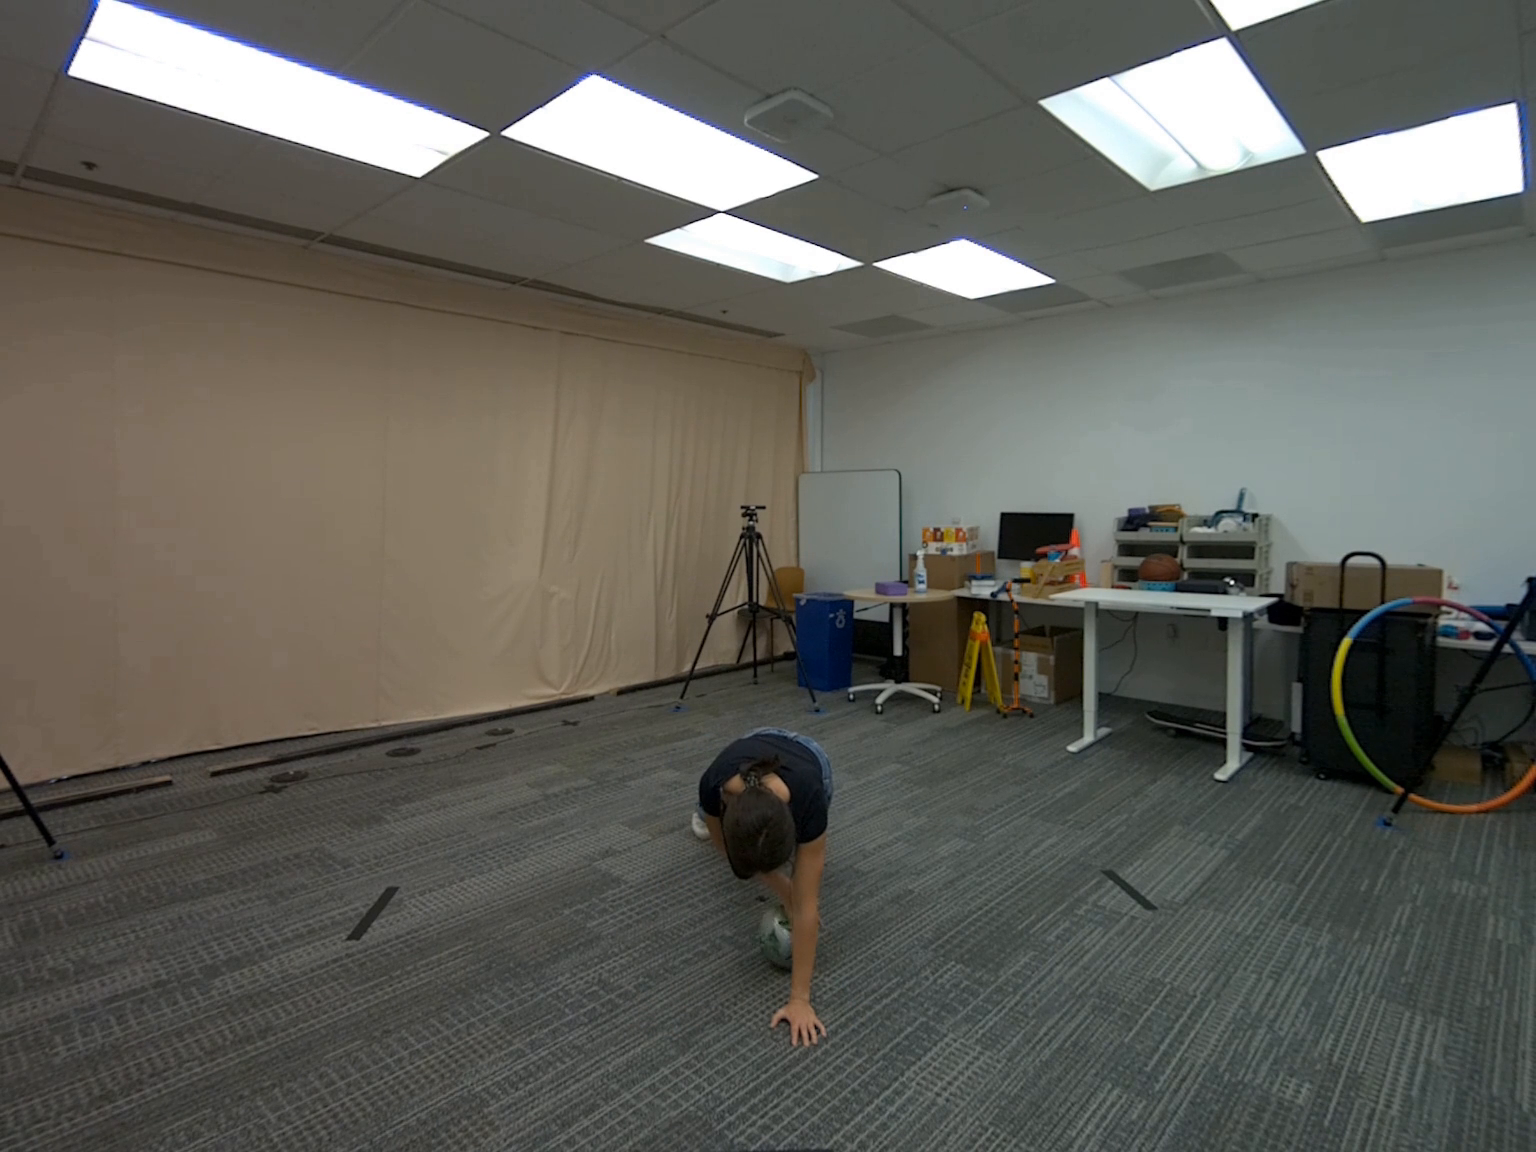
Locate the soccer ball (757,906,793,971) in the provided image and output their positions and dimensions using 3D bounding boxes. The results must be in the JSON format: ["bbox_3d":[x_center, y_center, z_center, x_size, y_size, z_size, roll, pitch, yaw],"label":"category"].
[{"bbox_3d":[0.050,1.079,2.557,0.187,0.187,0.188,0,4,-2],"label":"soccer ball"}]
